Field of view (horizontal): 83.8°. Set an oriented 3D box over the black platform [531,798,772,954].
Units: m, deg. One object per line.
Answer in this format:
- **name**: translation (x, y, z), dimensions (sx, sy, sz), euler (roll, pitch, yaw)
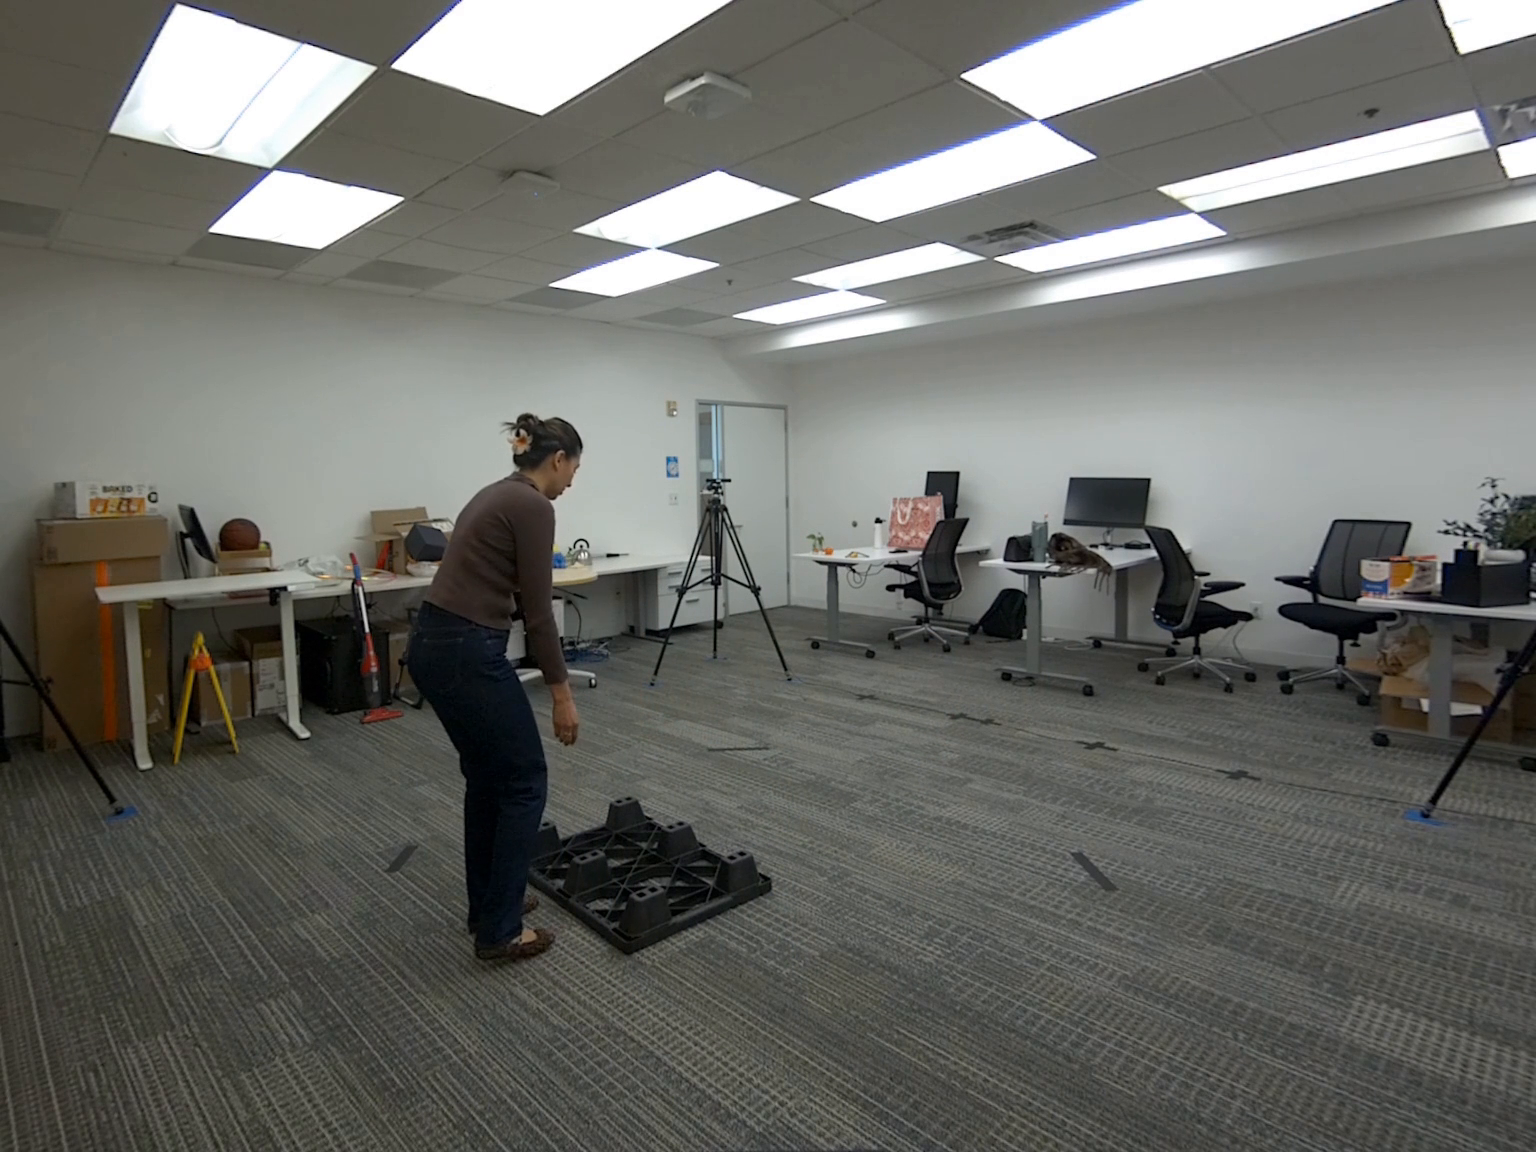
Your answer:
- **black platform**: translation (-0.459, 0.998, 3.009), dimensions (0.590, 0.142, 0.831), euler (-8, 9, -42)
